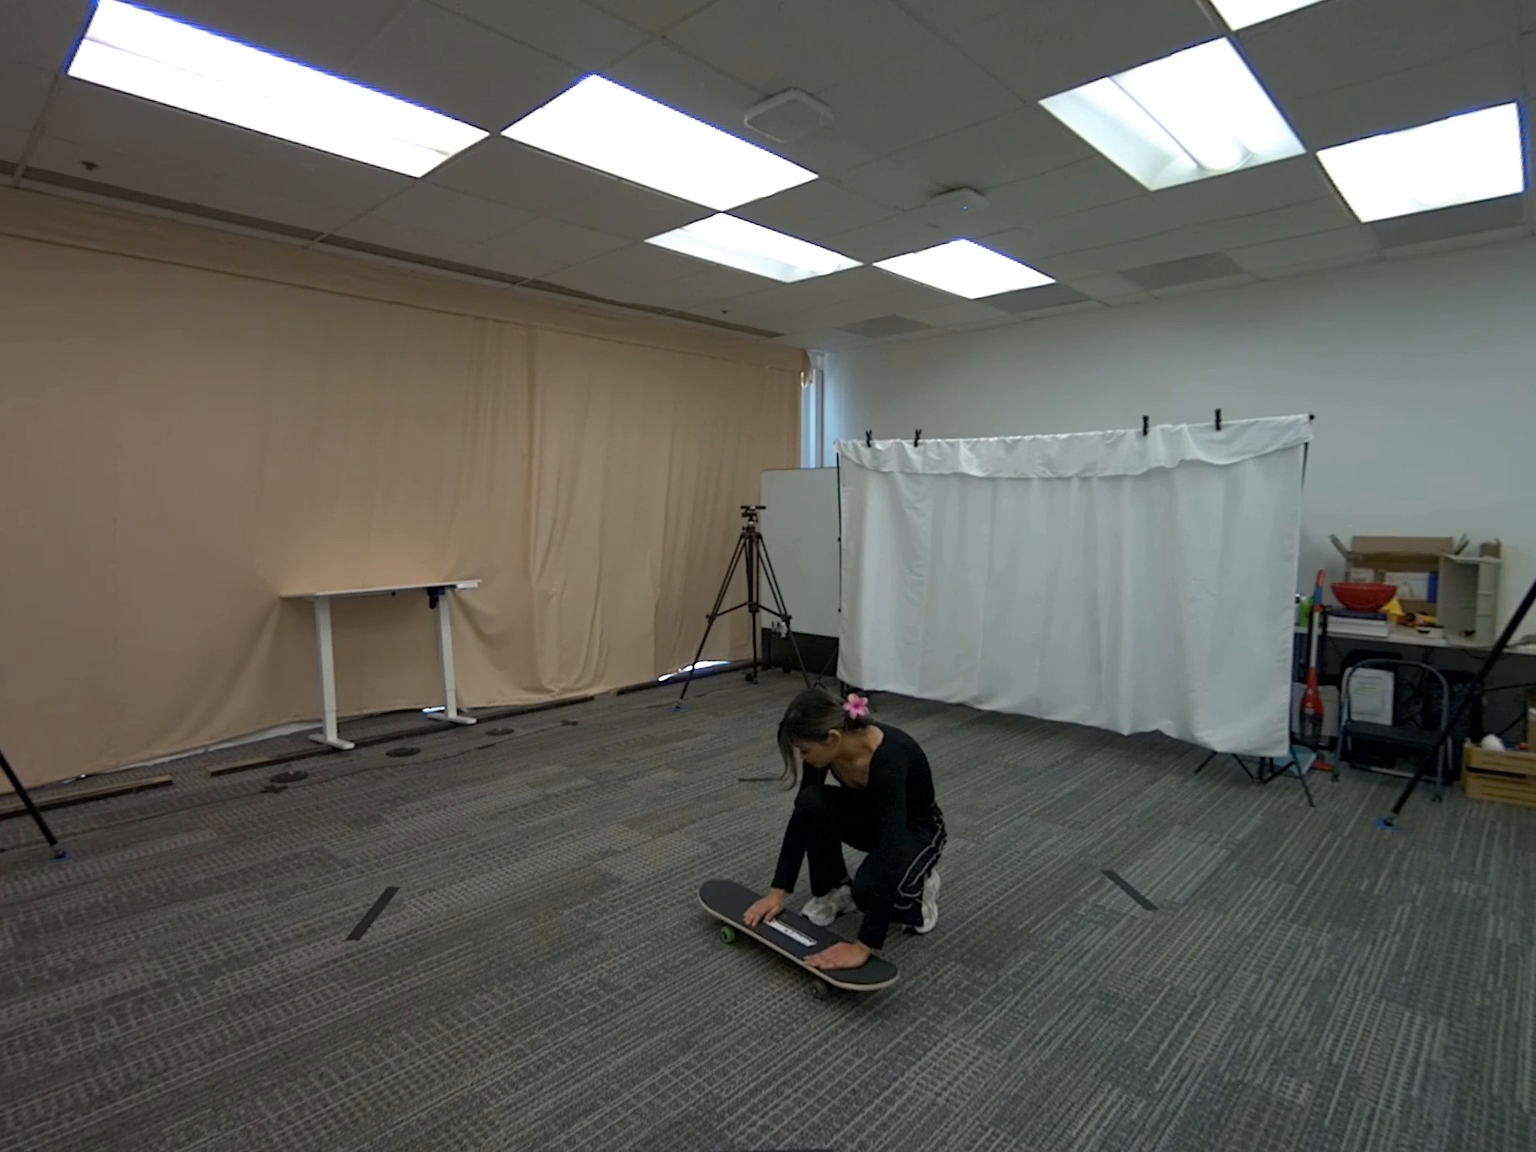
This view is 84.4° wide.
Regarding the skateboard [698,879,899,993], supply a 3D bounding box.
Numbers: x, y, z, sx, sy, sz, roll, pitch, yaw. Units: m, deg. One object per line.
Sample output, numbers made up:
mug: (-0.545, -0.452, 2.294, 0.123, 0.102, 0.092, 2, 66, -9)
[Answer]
skateboard: (0.056, 1.124, 2.587, 0.188, 0.110, 0.812, -5, 7, -40)
